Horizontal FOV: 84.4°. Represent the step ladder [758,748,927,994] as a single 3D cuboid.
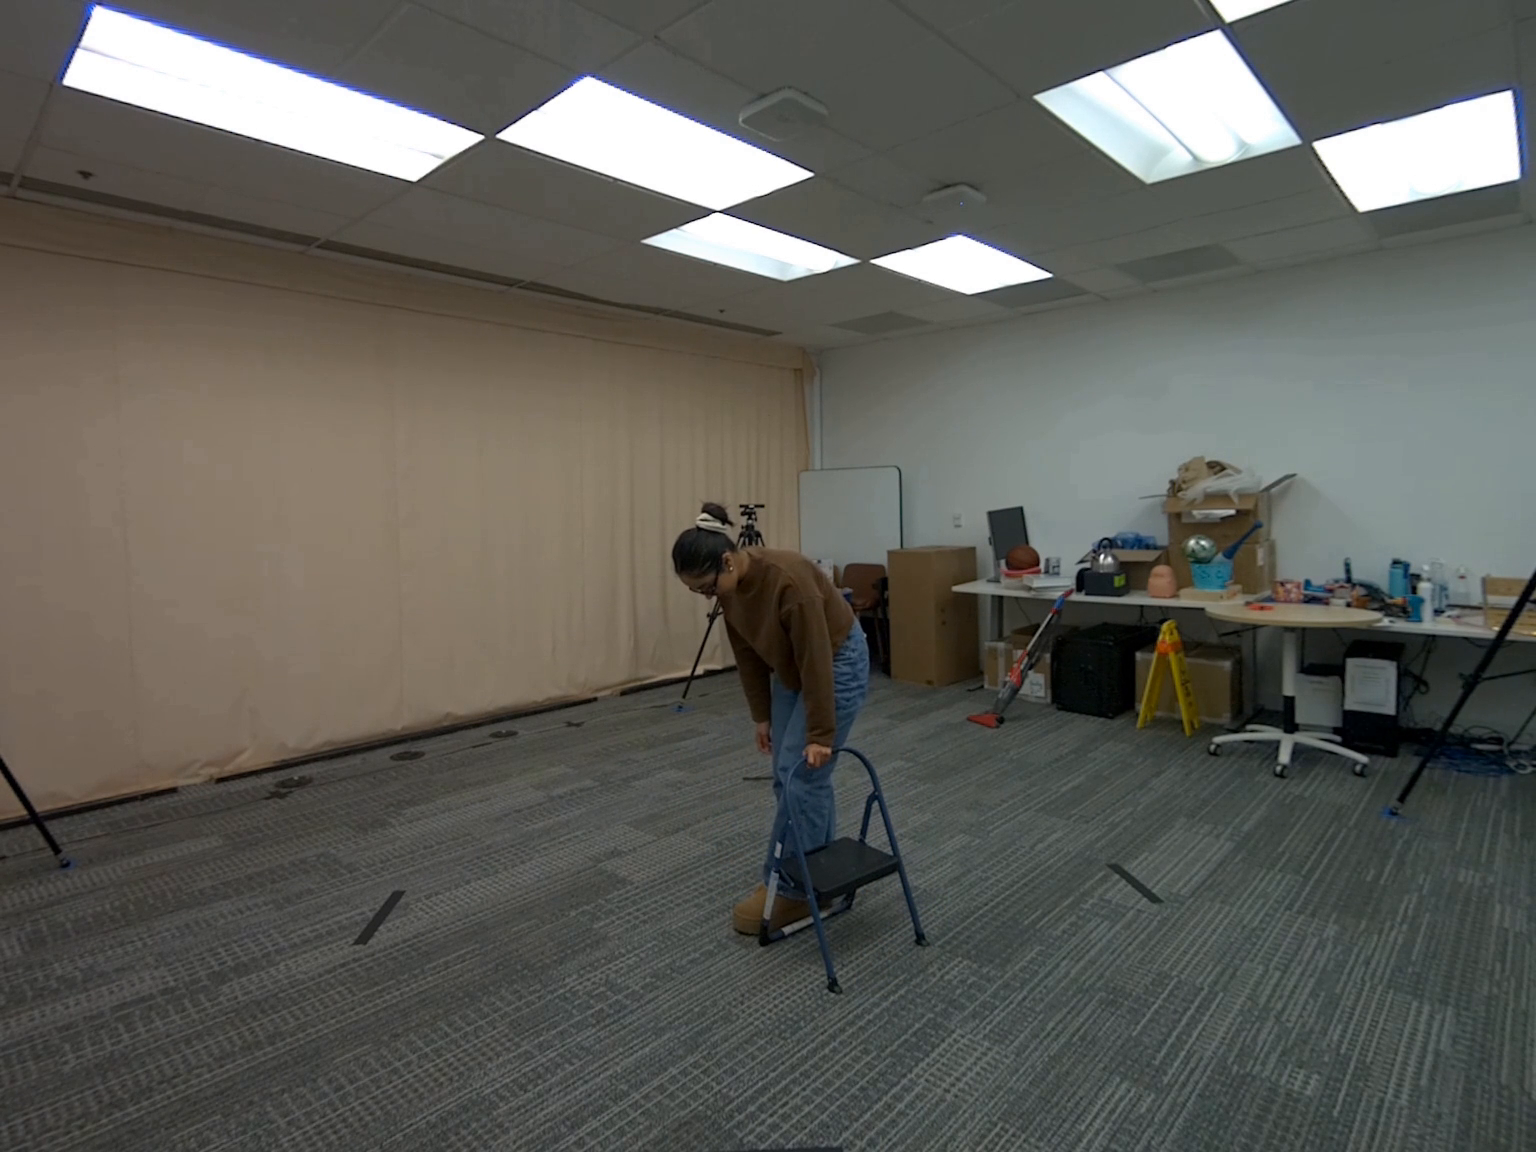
[{"bbox_3d":[0.238,0.861,2.636,0.418,0.605,0.360,-4,4,-40],"label":"step ladder"}]
